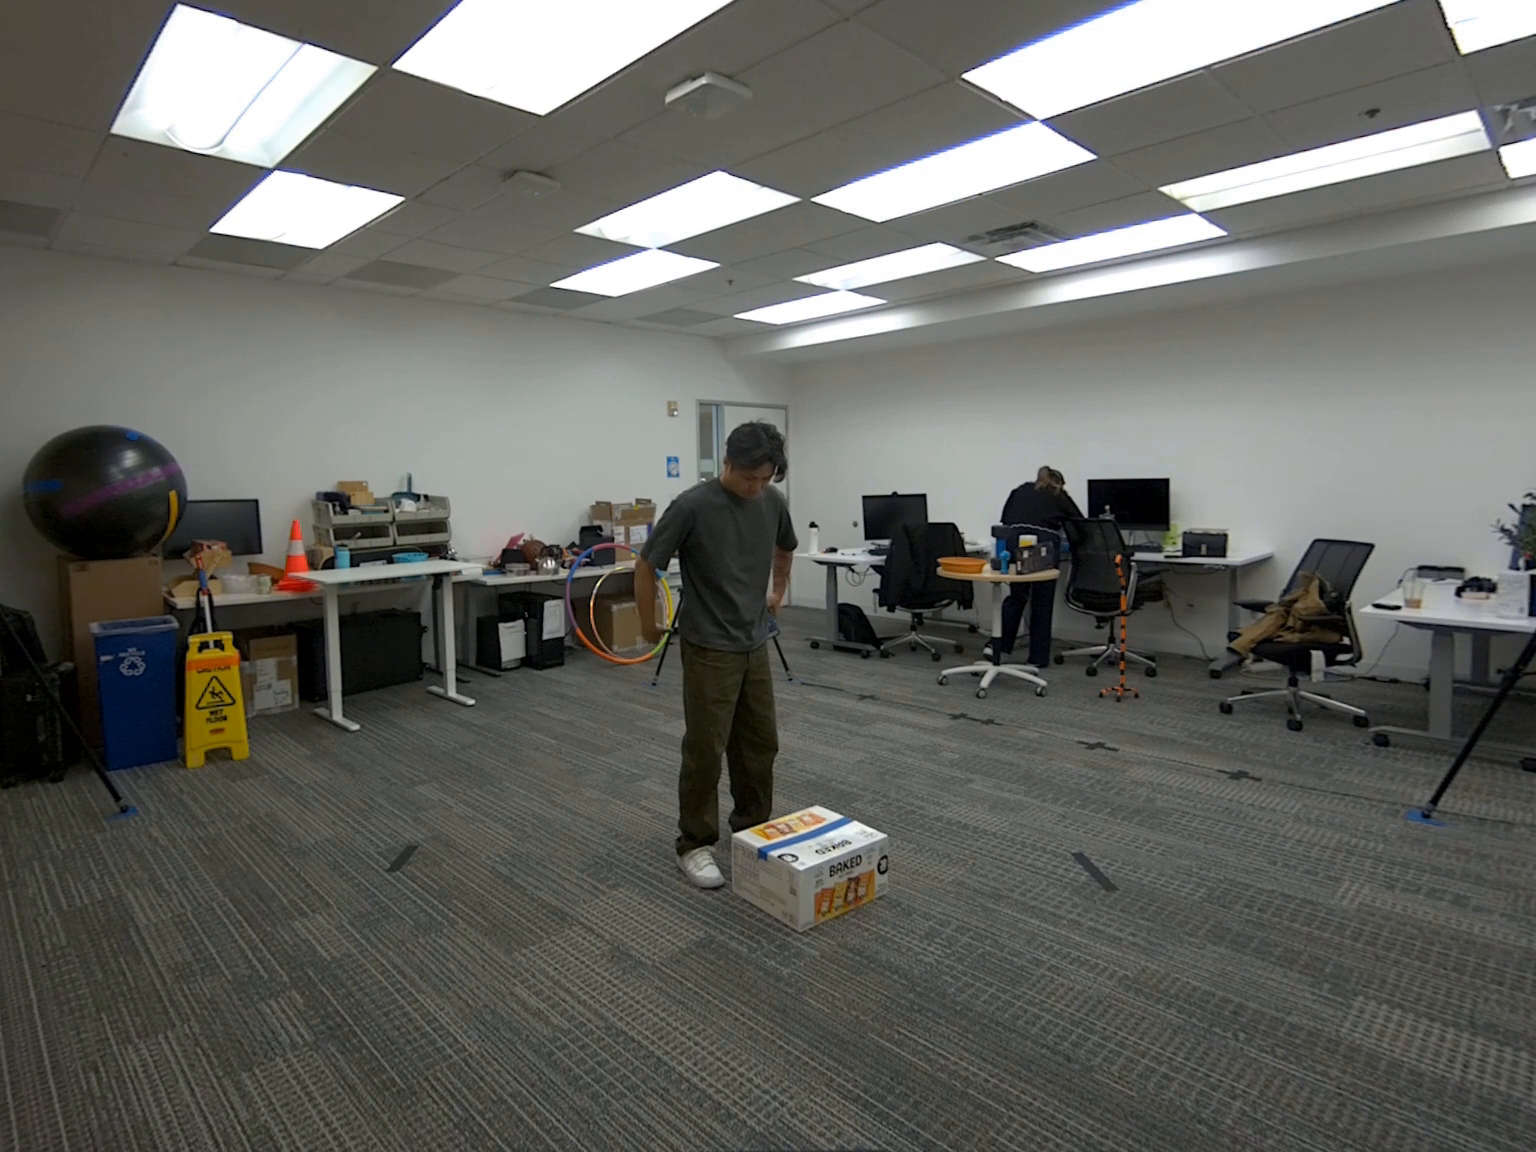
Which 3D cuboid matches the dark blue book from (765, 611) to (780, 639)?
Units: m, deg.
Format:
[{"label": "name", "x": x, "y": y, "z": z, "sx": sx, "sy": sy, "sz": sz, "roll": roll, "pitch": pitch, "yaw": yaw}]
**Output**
[{"label": "dark blue book", "x": -0.068, "y": 0.156, "z": 3.425, "sx": 0.163, "sy": 0.254, "sz": 0.044, "roll": -23, "pitch": -34, "yaw": -7}]
